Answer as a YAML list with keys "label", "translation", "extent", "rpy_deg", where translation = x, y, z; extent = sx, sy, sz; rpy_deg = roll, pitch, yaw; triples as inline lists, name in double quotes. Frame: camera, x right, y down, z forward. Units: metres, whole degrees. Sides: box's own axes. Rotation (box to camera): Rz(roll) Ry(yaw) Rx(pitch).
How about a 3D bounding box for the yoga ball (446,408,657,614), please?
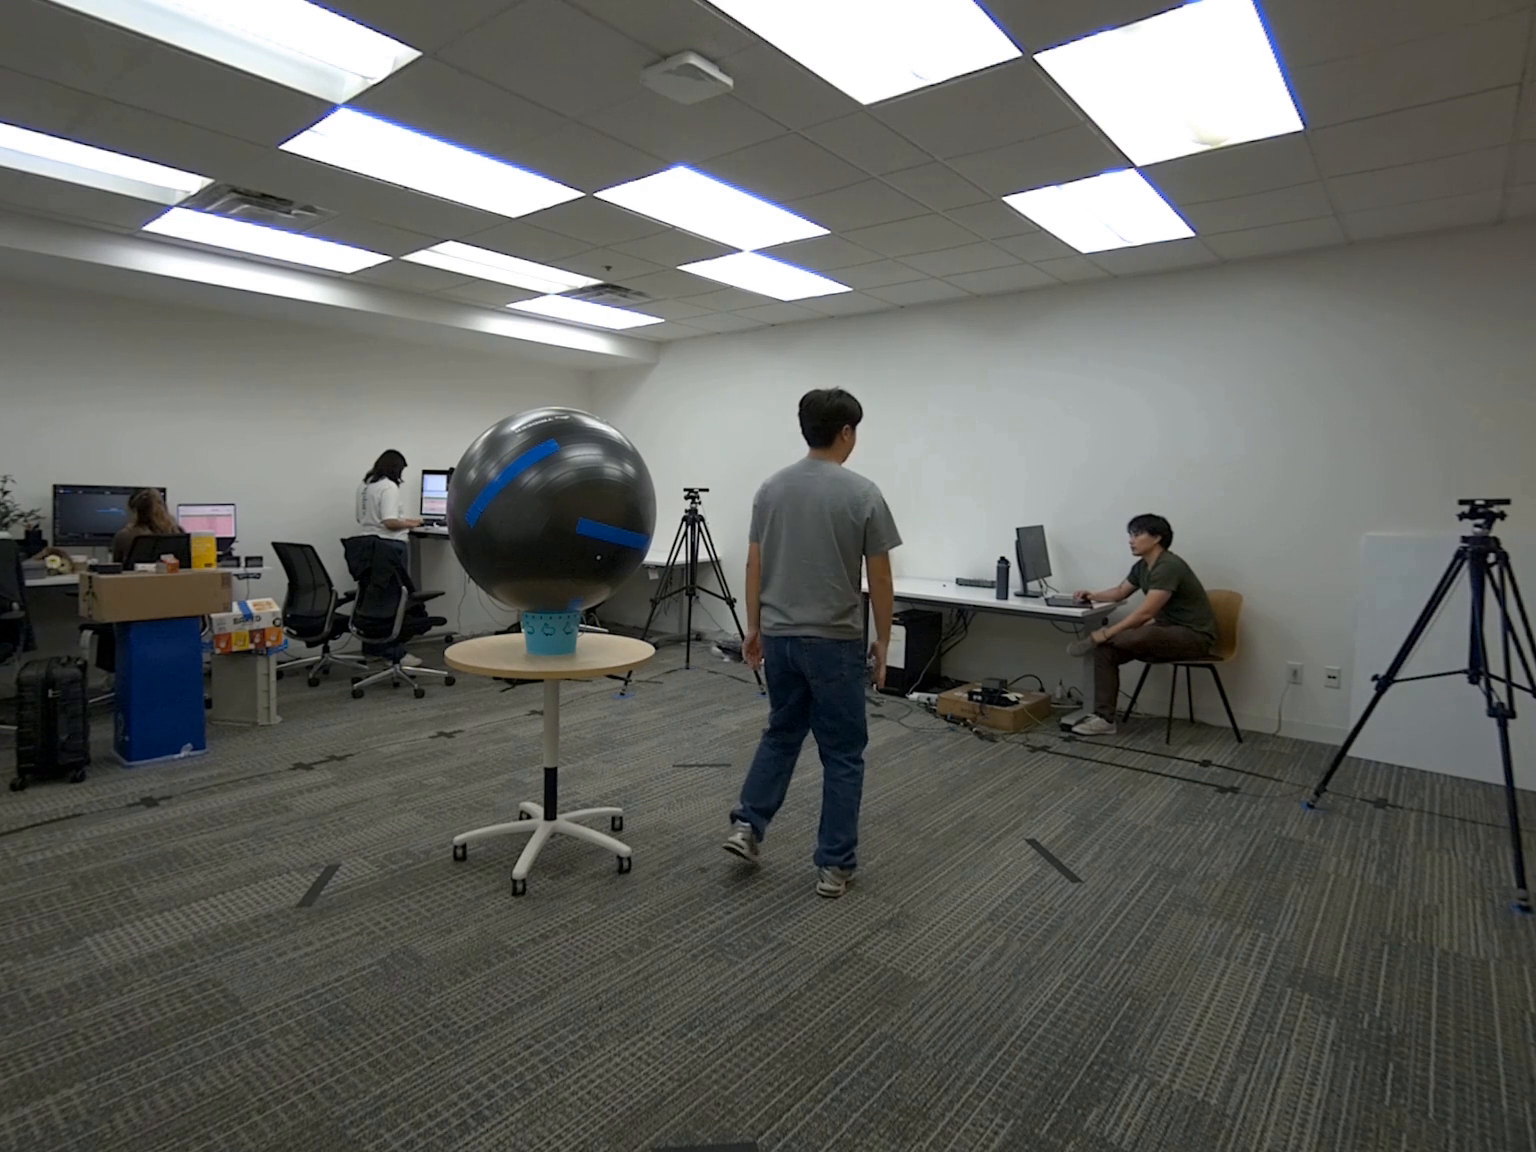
- label: "yoga ball"
  translation: [-0.809, -0.235, 3.134]
  extent: [0.757, 0.755, 0.762]
  rpy_deg: [1, 4, -2]
